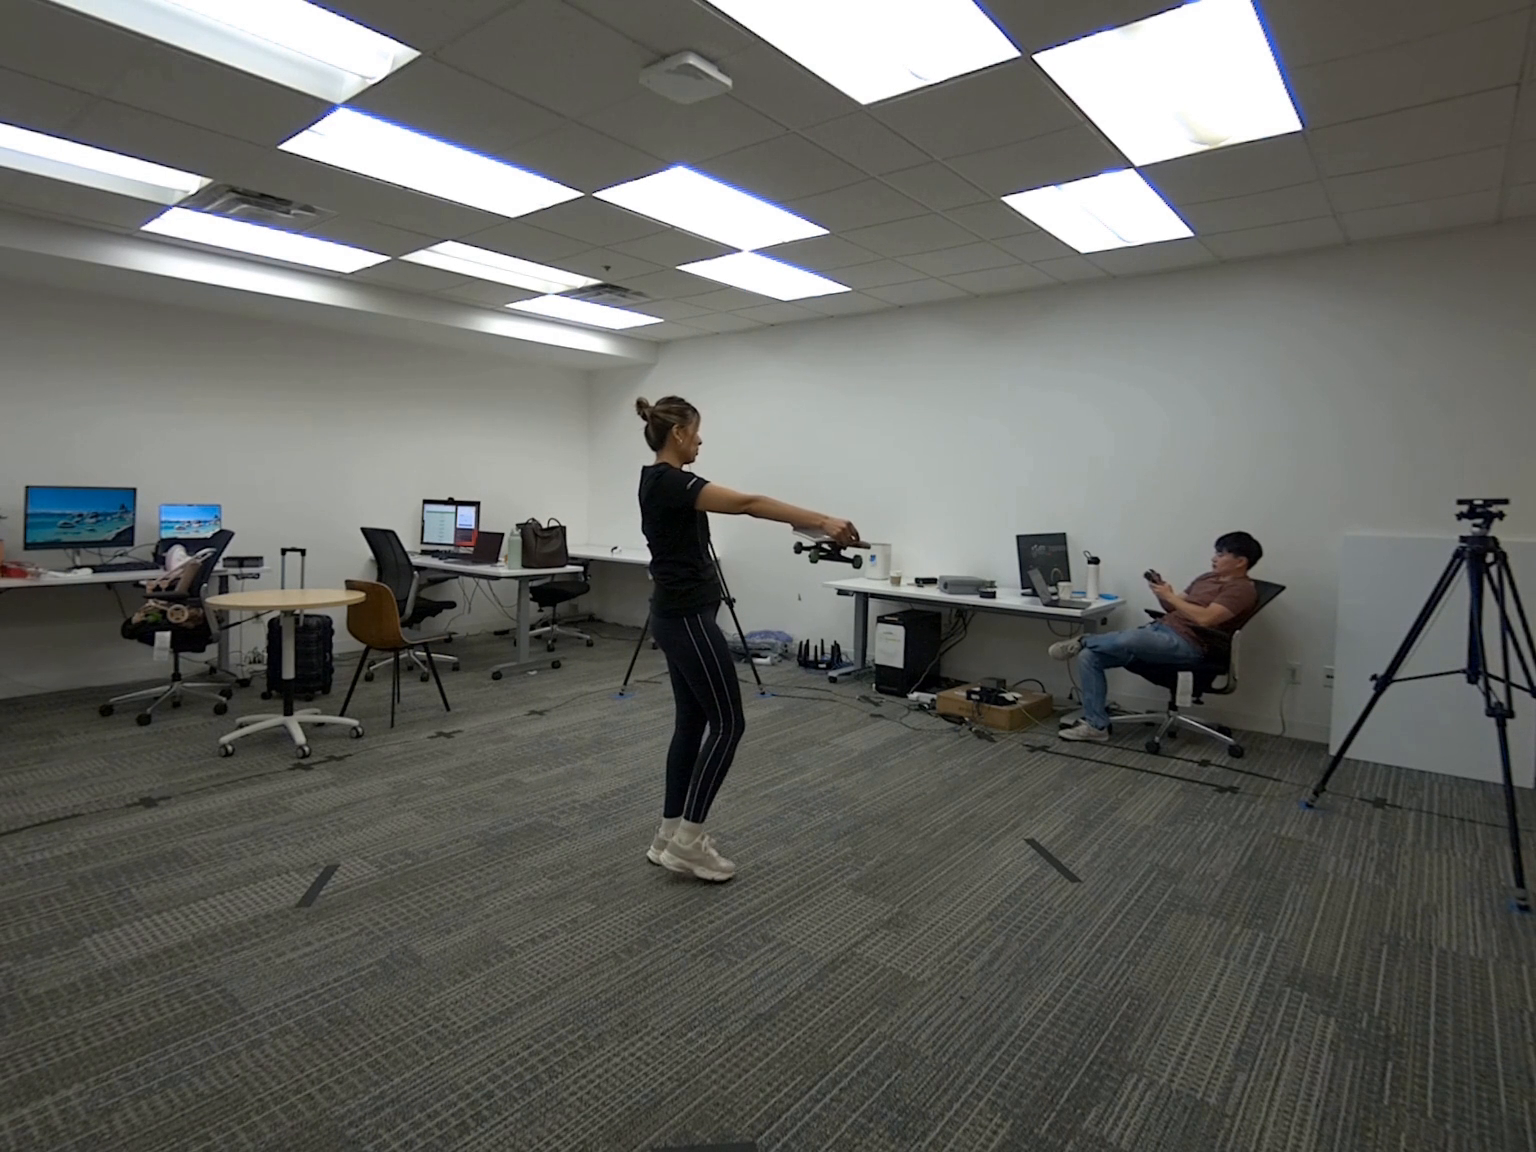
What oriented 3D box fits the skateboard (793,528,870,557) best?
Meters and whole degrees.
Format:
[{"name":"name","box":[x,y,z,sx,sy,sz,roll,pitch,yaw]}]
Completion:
[{"name":"skateboard","box":[0.214,-0.109,3.177,0.192,0.110,0.793,7,6,-7]}]
